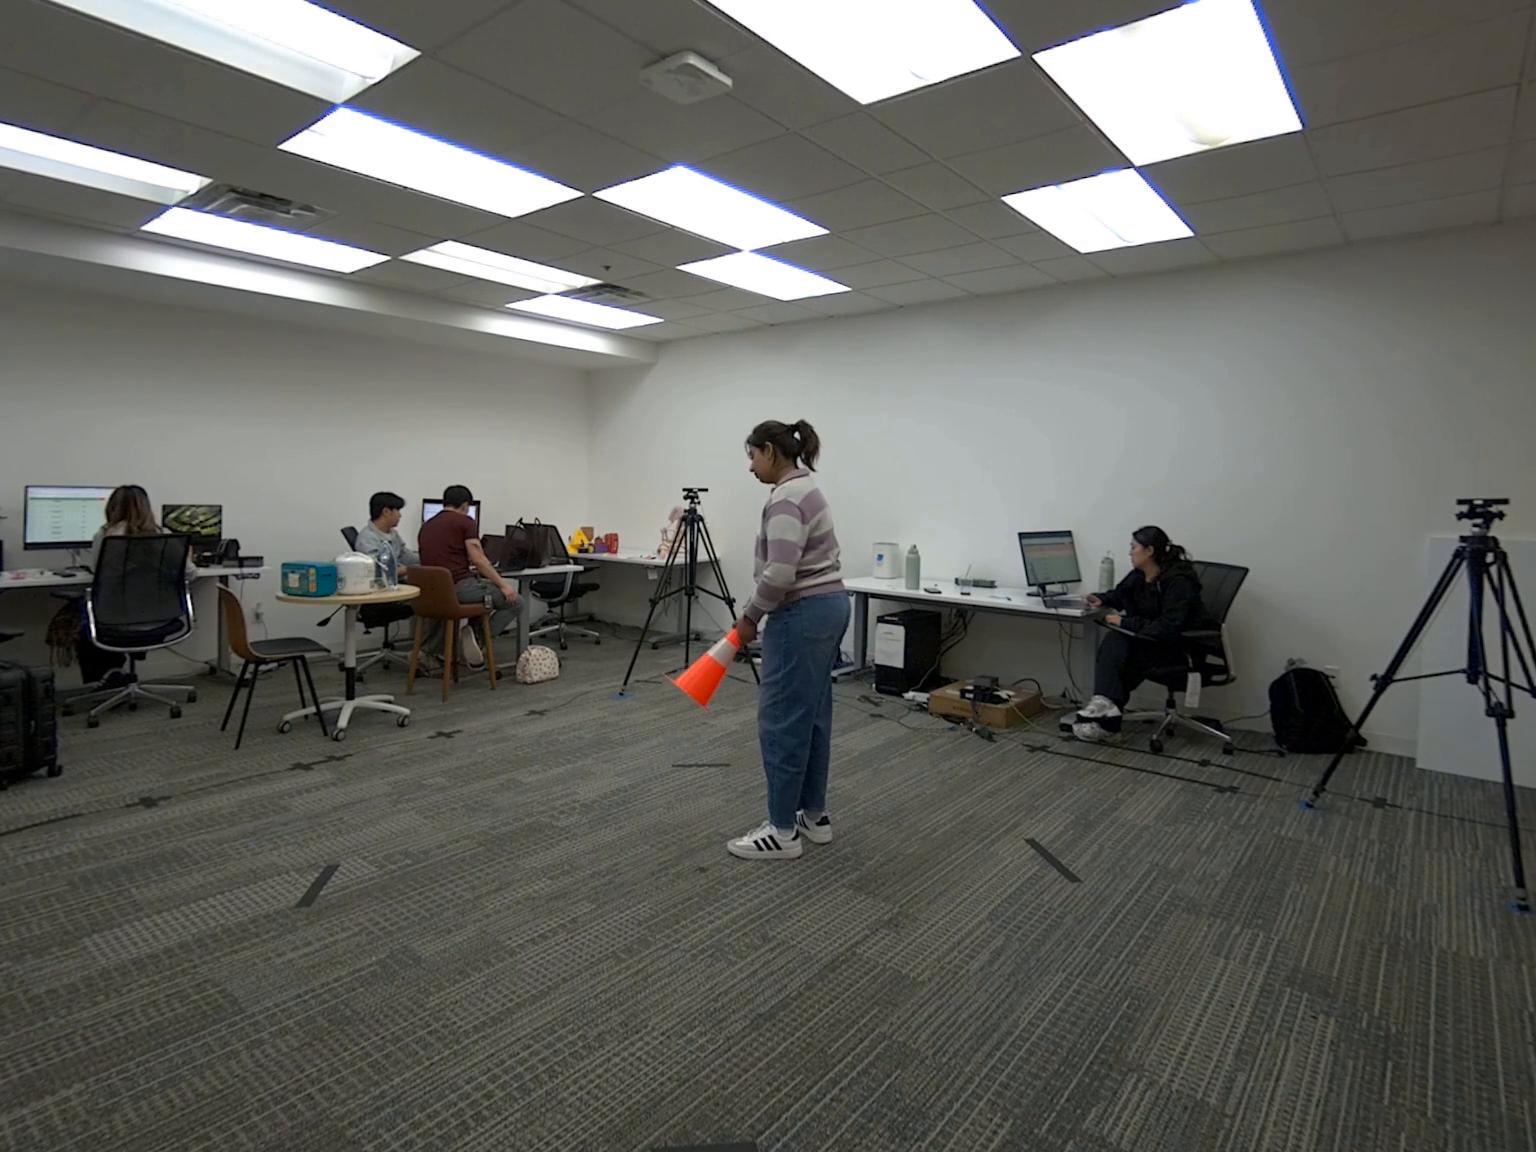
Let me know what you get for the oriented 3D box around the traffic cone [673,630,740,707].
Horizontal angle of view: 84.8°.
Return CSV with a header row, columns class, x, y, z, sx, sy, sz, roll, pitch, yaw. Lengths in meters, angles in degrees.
class,x,y,z,sx,sy,sz,roll,pitch,yaw
traffic cone,-0.188,0.311,3.334,0.195,0.384,0.213,44,-7,-37
